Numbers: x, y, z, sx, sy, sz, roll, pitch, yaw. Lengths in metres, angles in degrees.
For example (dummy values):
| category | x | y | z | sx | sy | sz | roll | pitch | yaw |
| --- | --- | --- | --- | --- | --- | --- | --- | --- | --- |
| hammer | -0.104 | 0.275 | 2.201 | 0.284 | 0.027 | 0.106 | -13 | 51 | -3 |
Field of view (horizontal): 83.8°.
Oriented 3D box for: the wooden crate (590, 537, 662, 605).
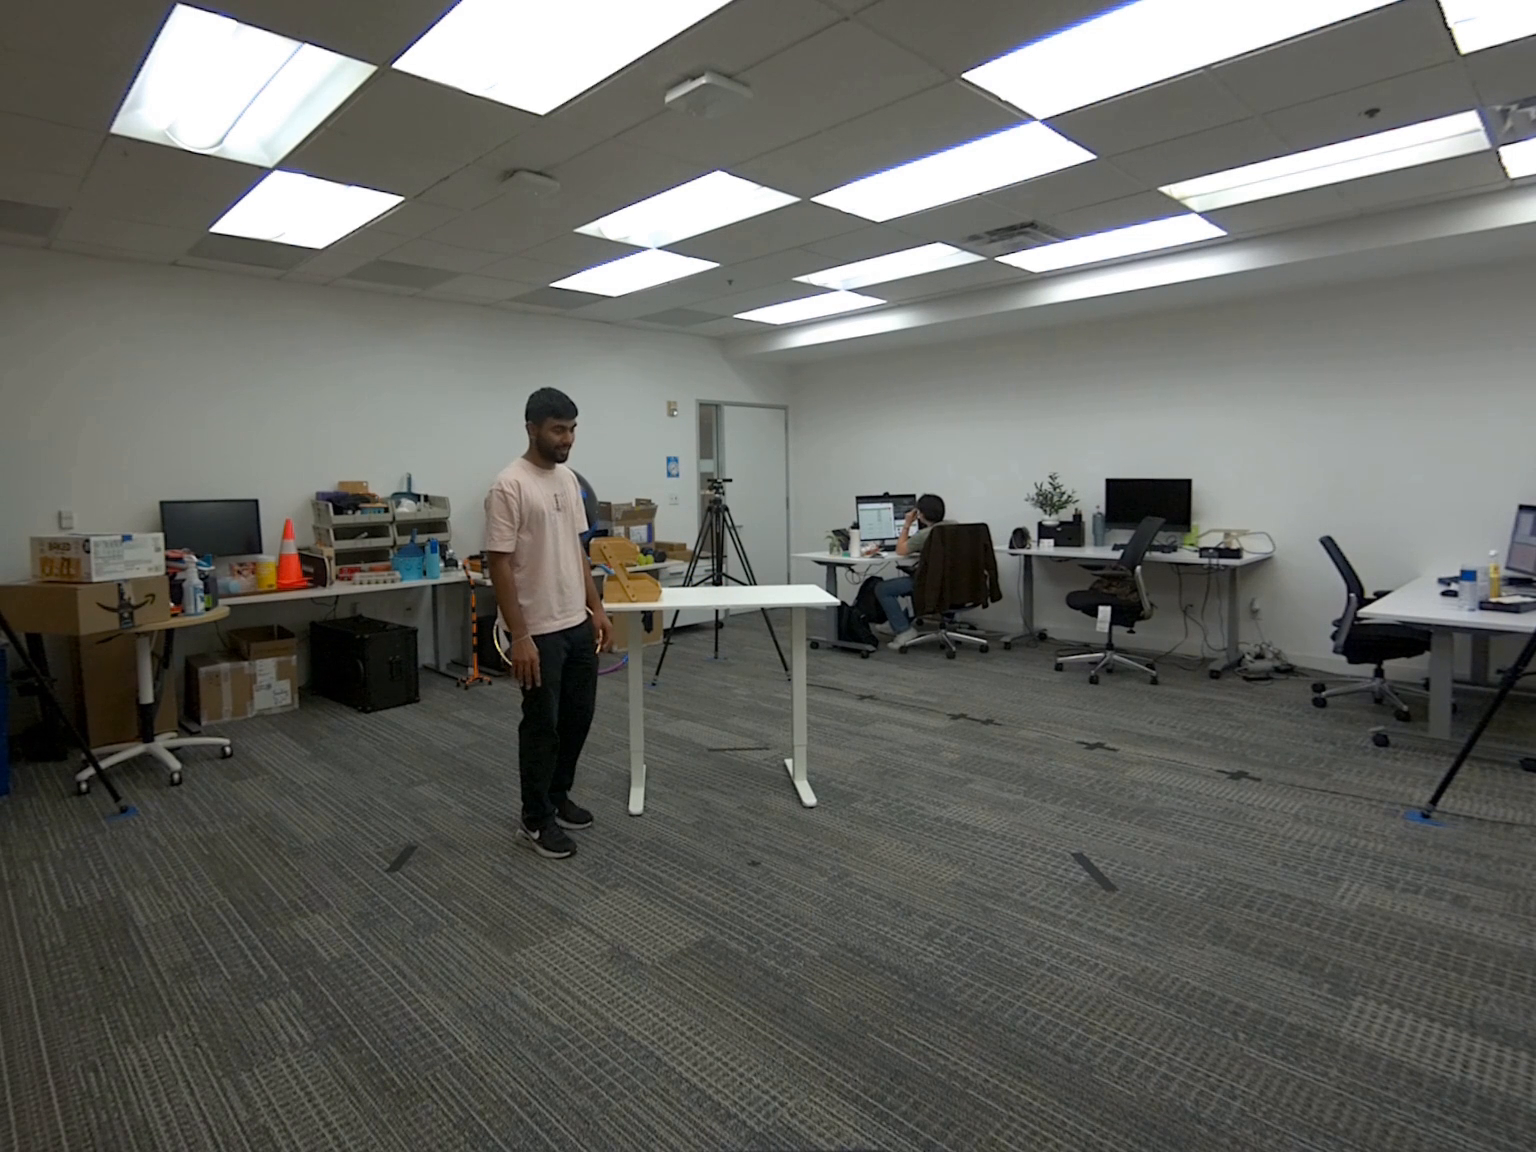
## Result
| category | x | y | z | sx | sy | sz | roll | pitch | yaw |
| --- | --- | --- | --- | --- | --- | --- | --- | --- | --- |
| wooden crate | -0.619 | -0.036 | 3.773 | 0.300 | 0.272 | 0.328 | -3 | 5 | -8 |
